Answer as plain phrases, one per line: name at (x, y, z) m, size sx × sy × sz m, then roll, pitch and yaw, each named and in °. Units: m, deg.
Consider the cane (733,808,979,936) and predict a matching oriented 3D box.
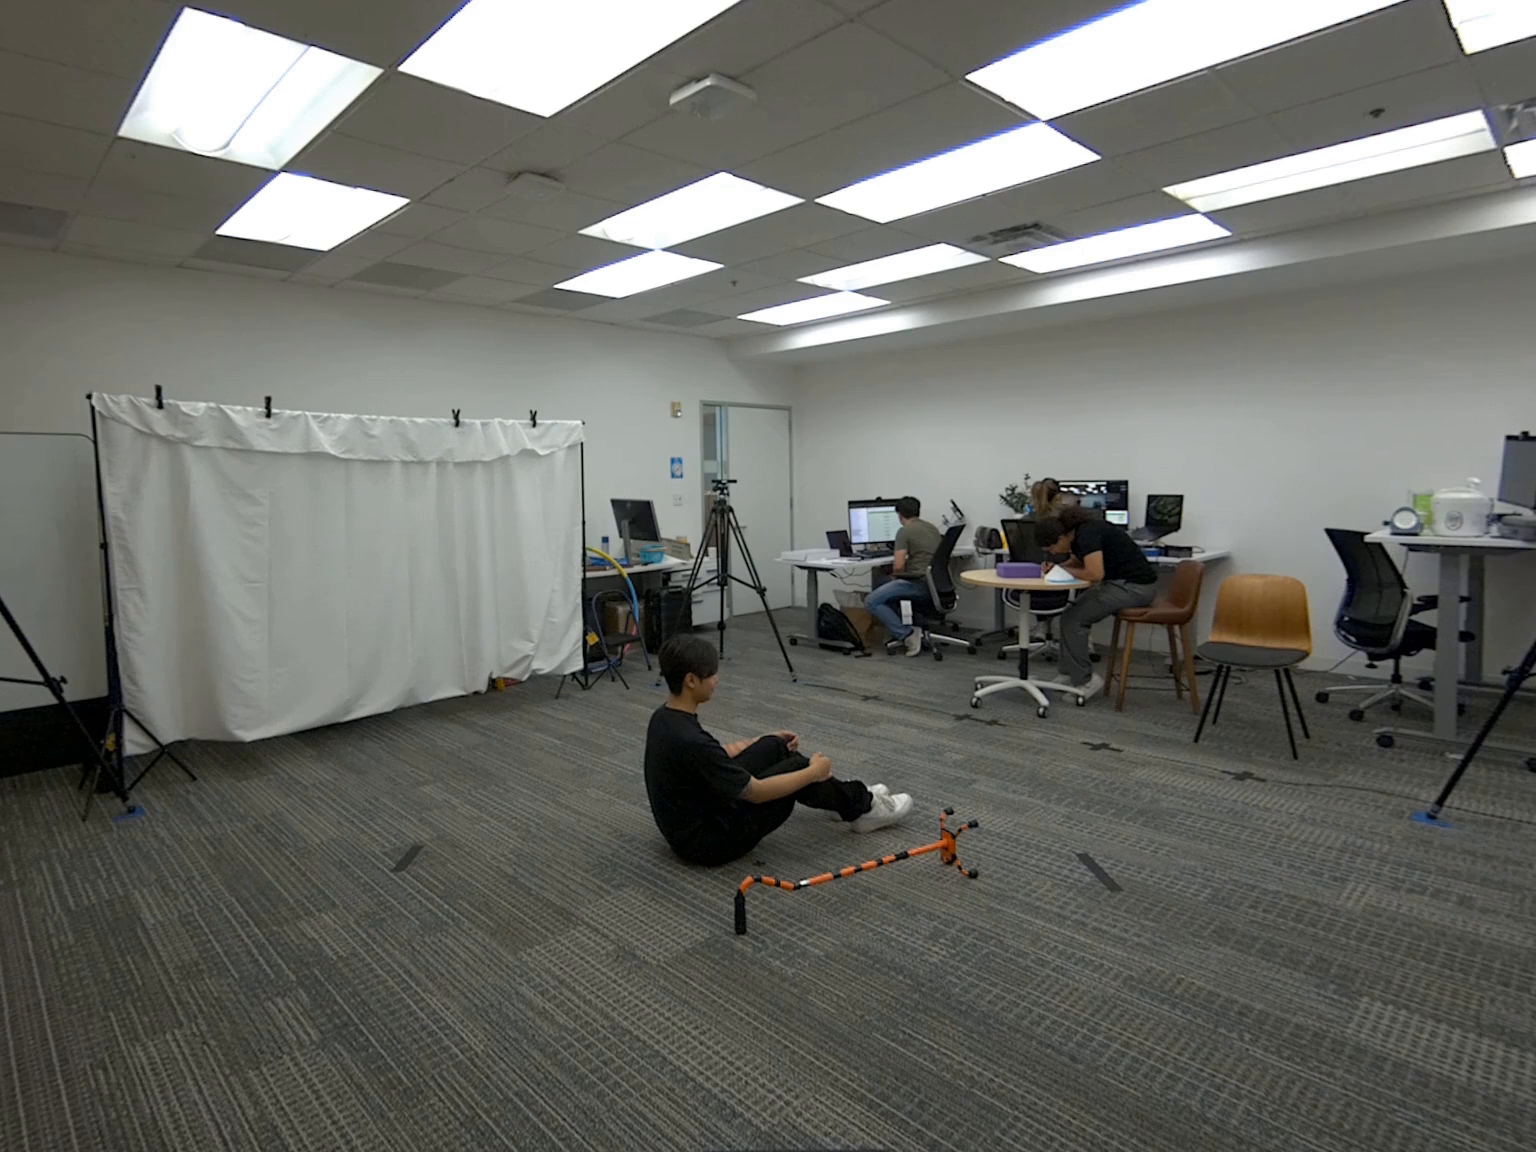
cane at (0.297, 0.965, 2.821) m, size 0.889 × 0.205 × 0.156 m, roll -4°, pitch 7°, yaw -26°
